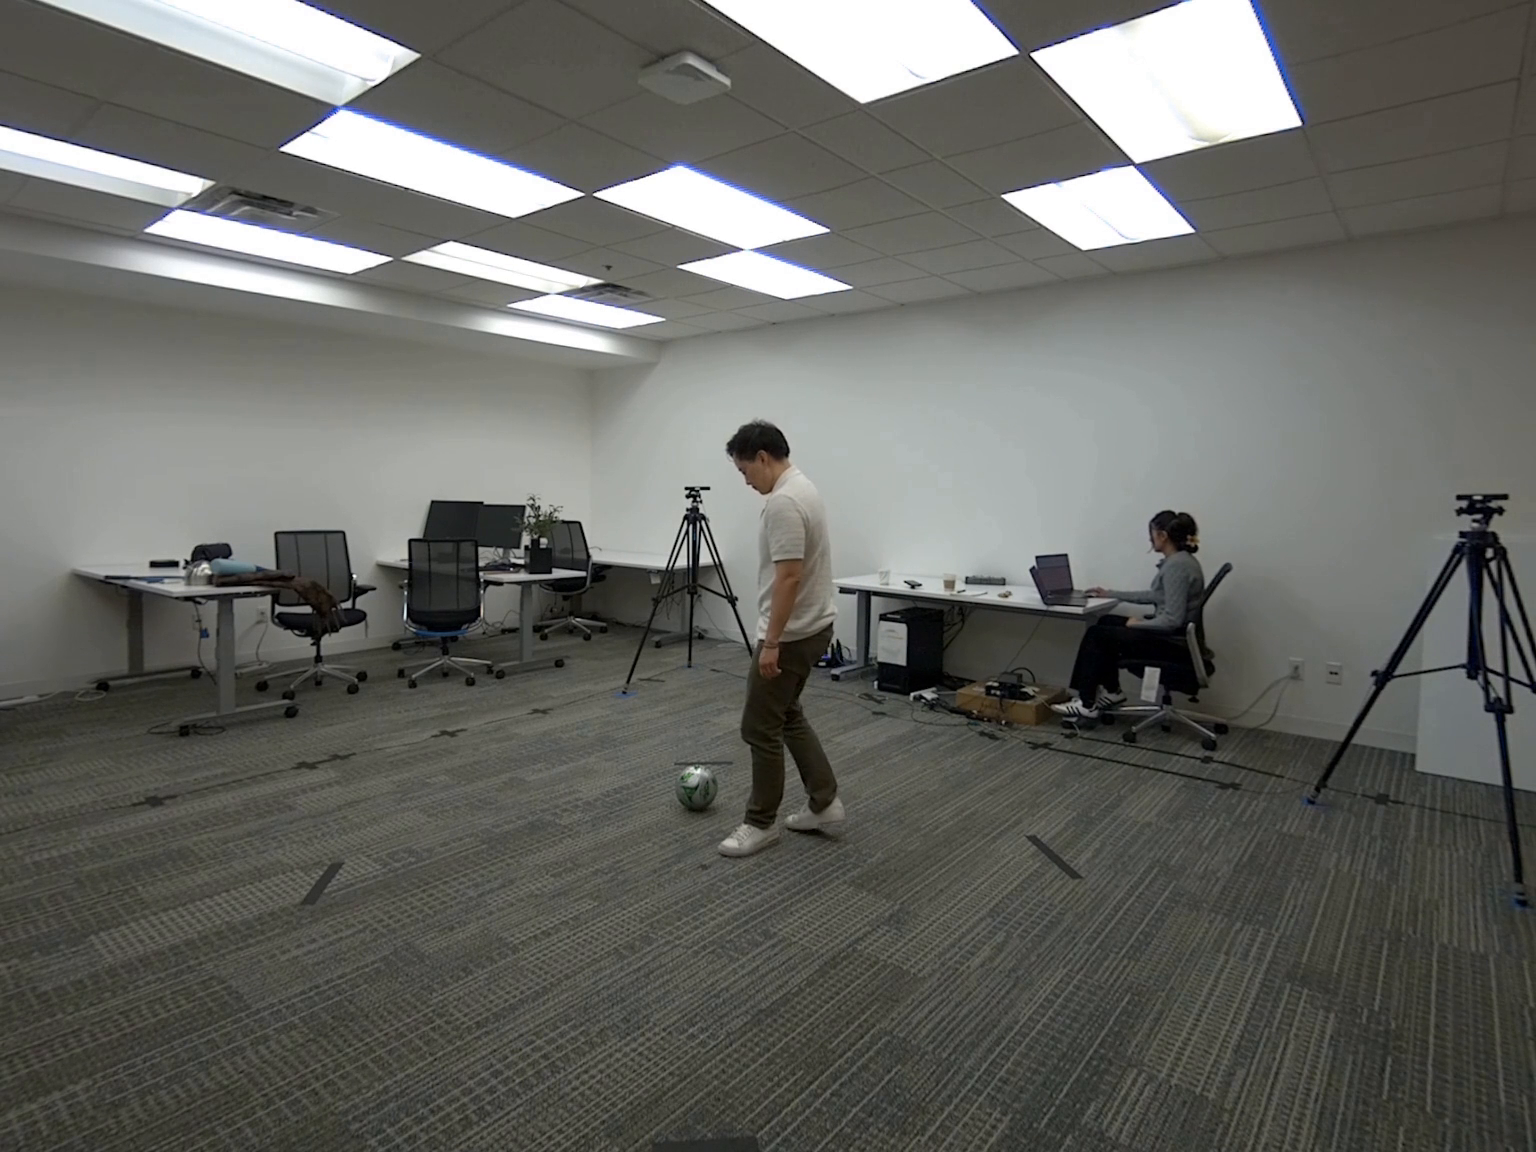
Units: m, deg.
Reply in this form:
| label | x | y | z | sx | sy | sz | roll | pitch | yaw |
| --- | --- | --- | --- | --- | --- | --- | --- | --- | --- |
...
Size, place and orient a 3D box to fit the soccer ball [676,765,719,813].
| label | x | y | z | sx | sy | sz | roll | pitch | yaw |
| --- | --- | --- | --- | --- | --- | --- | --- | --- | --- |
| soccer ball | -0.322 | 0.911 | 3.684 | 0.187 | 0.187 | 0.188 | 0 | 4 | -2 |
